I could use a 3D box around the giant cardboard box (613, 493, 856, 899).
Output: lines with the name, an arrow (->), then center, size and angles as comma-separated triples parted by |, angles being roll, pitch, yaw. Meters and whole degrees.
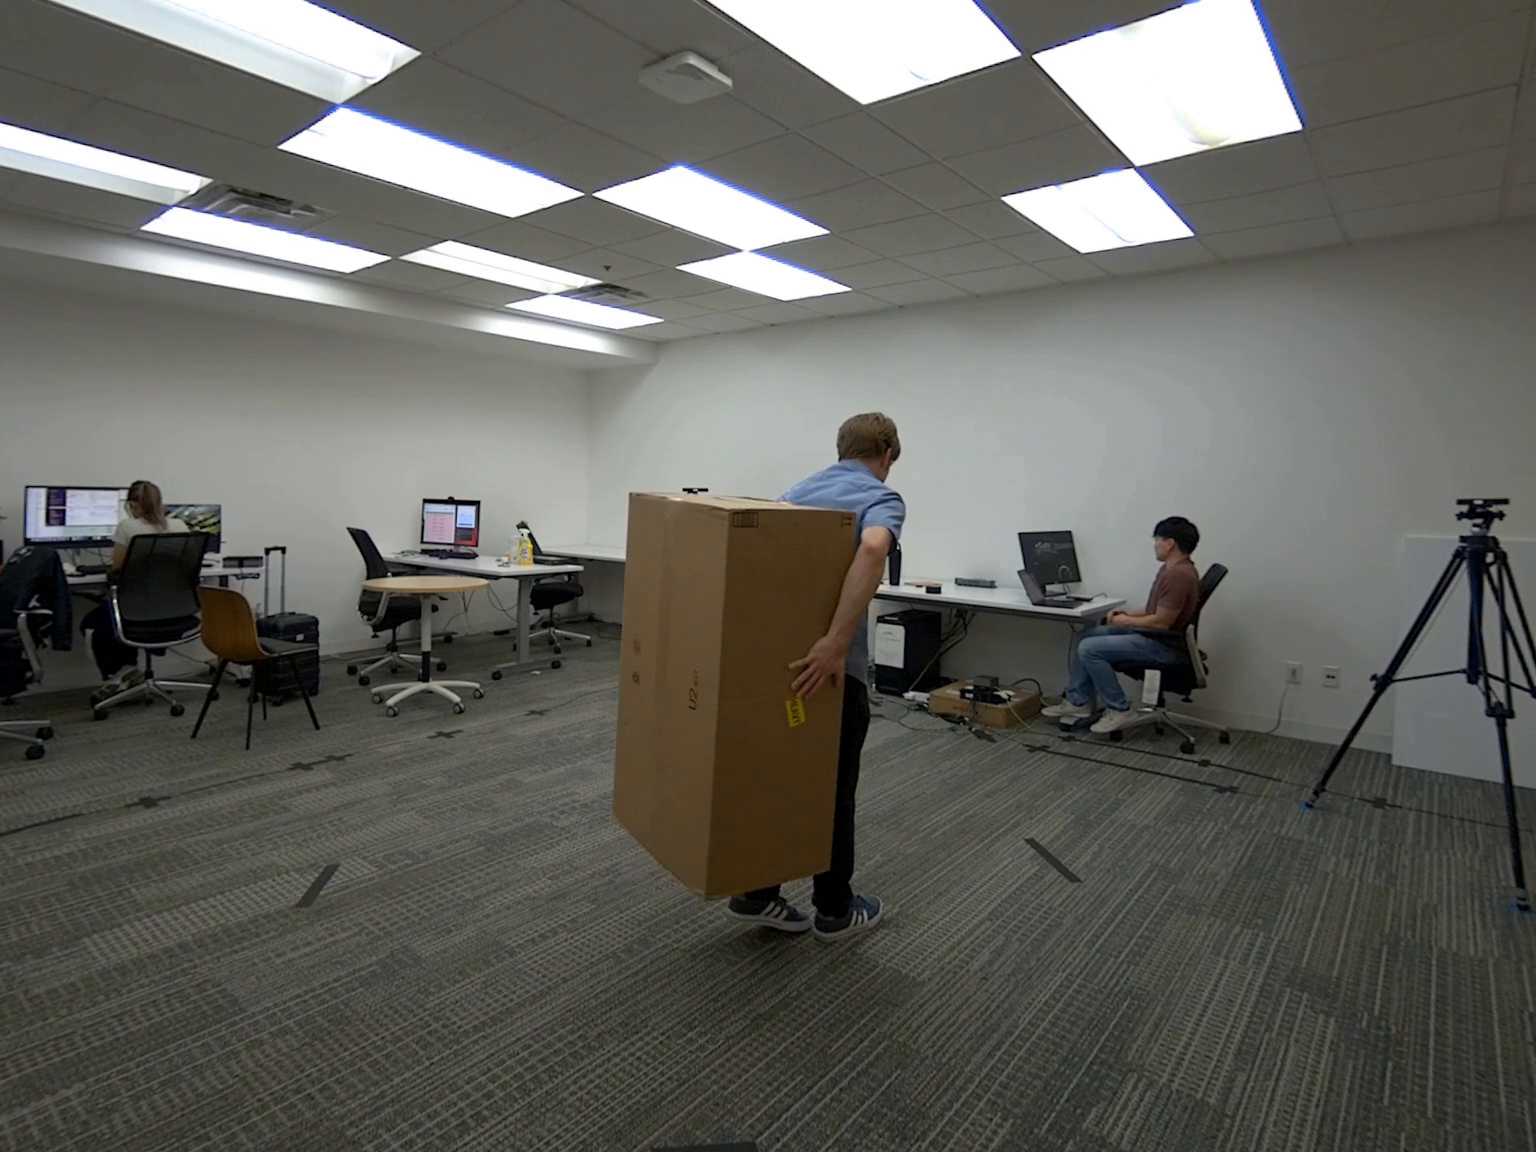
giant cardboard box -> -0.137, 0.295, 2.491 | 0.434, 1.022, 0.604 | 0, 7, -35
